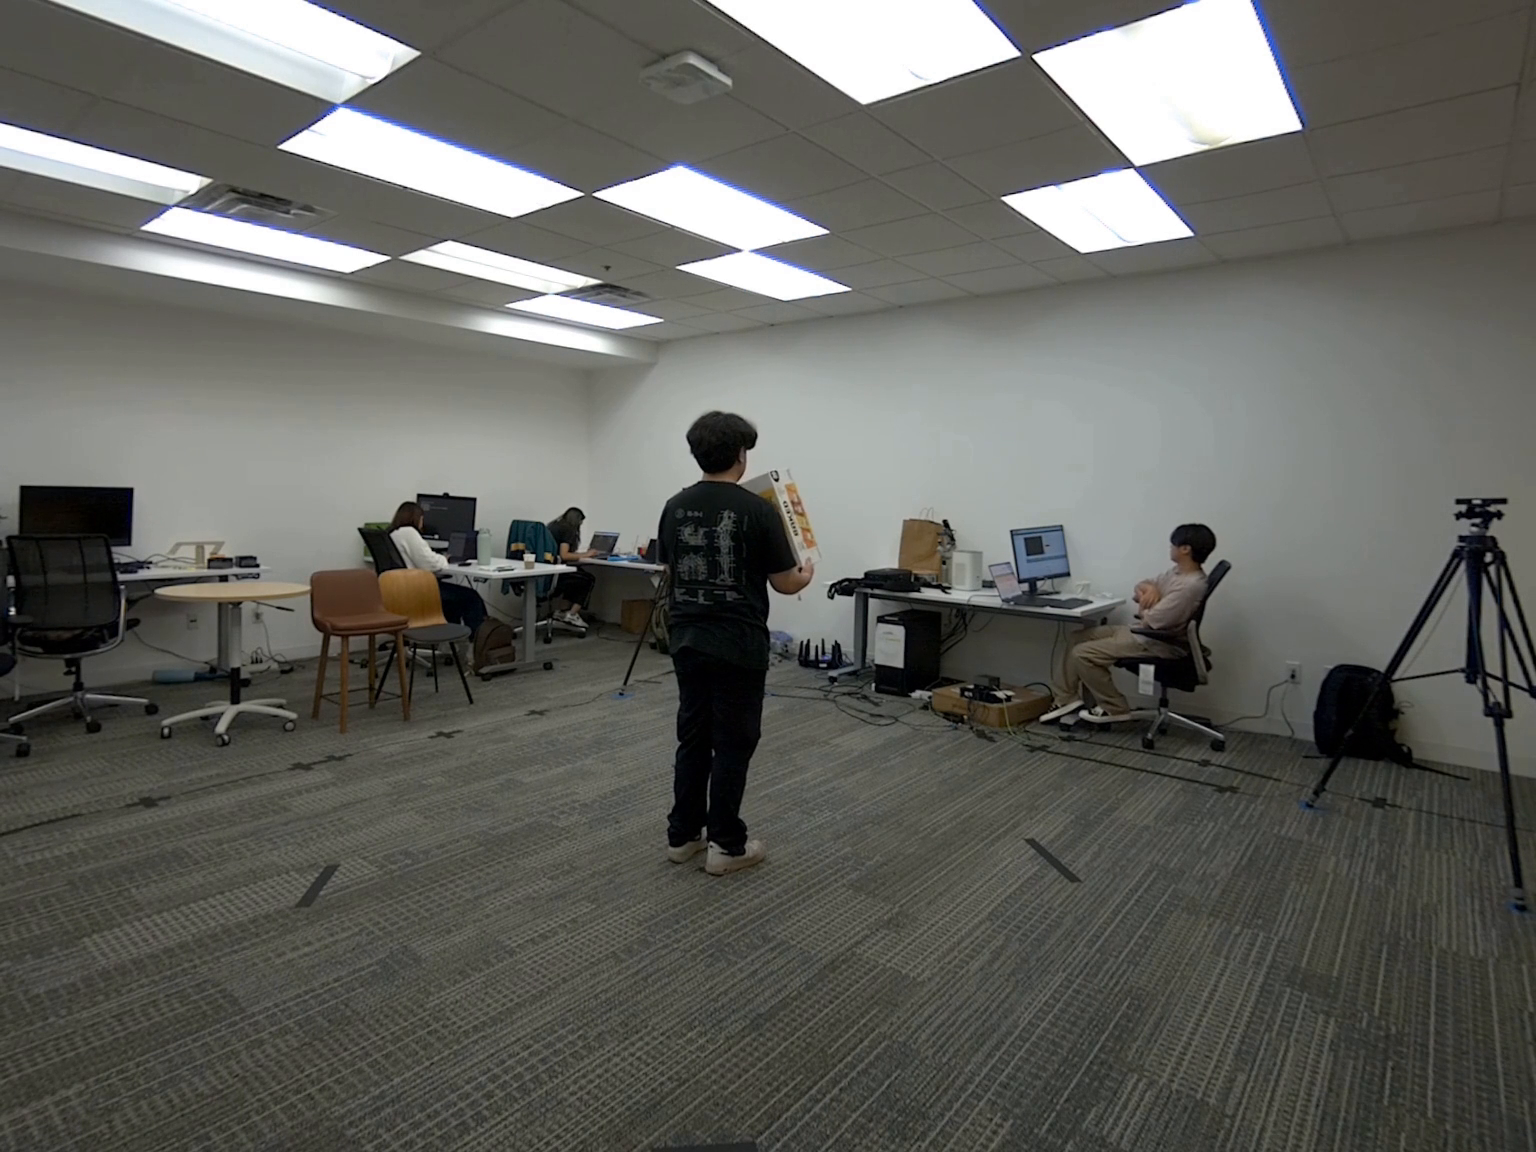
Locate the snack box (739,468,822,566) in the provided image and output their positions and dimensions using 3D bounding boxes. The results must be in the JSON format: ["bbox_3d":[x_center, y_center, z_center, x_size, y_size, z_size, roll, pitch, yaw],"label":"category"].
[{"bbox_3d":[-0.033,-0.198,3.517,0.346,0.406,0.201,-19,-2,30],"label":"snack box"}]
